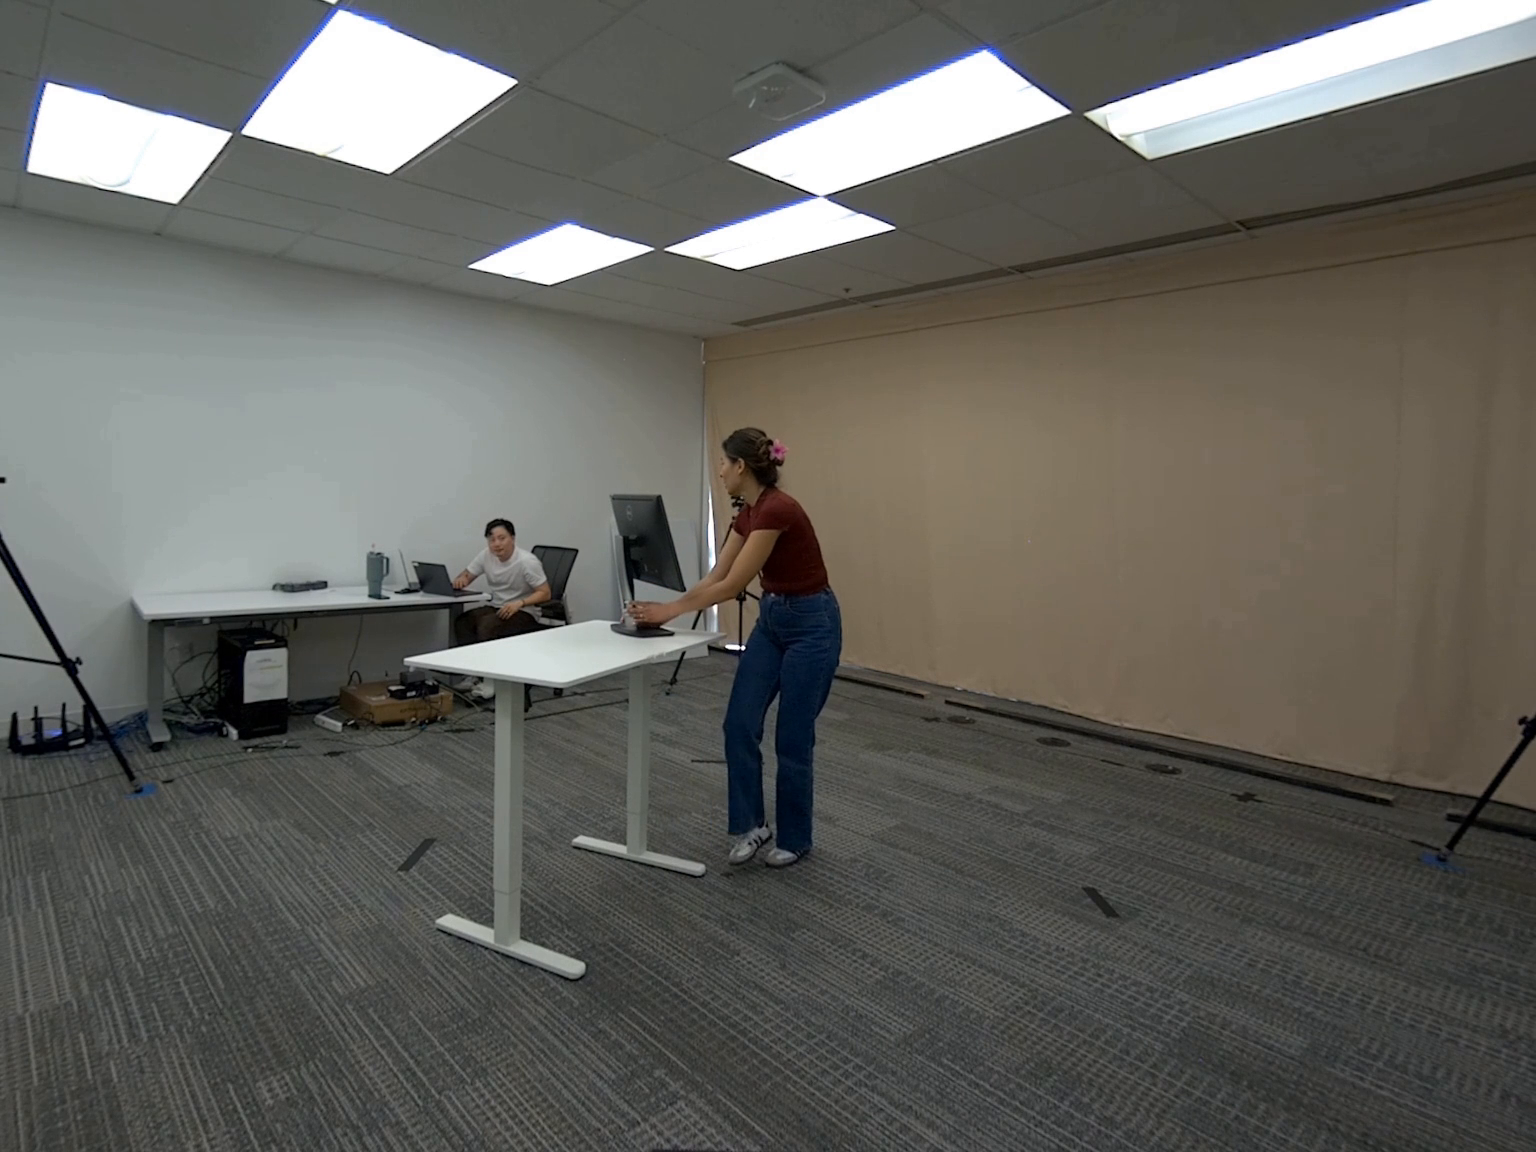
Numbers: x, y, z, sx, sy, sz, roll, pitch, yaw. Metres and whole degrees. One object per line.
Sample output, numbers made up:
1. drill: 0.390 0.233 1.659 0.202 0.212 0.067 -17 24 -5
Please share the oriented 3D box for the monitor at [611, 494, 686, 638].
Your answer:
1. monitor: -0.483 -0.041 3.143 0.183 0.520 0.551 -4 6 -30
